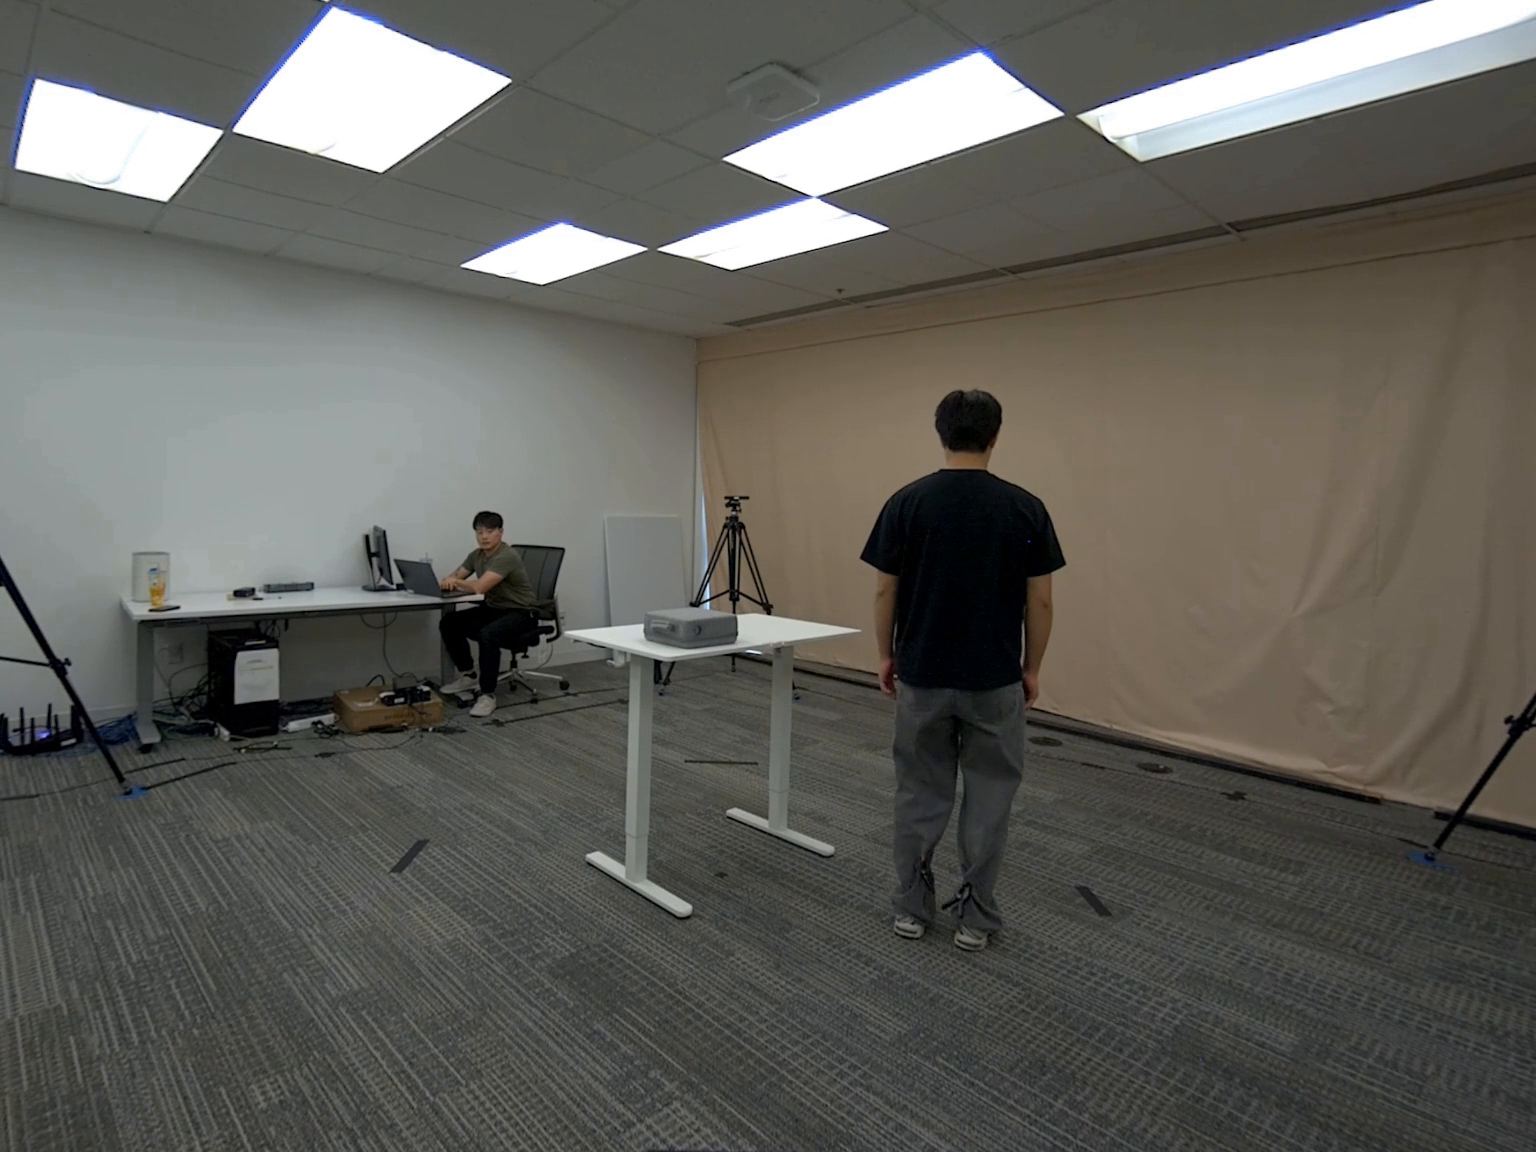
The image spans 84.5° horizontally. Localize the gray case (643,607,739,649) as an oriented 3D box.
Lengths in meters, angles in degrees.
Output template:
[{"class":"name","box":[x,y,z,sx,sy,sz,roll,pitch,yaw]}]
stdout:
[{"class":"gray case","box":[-0.281,0.179,2.947,0.254,0.104,0.264,-3,8,-45]}]
